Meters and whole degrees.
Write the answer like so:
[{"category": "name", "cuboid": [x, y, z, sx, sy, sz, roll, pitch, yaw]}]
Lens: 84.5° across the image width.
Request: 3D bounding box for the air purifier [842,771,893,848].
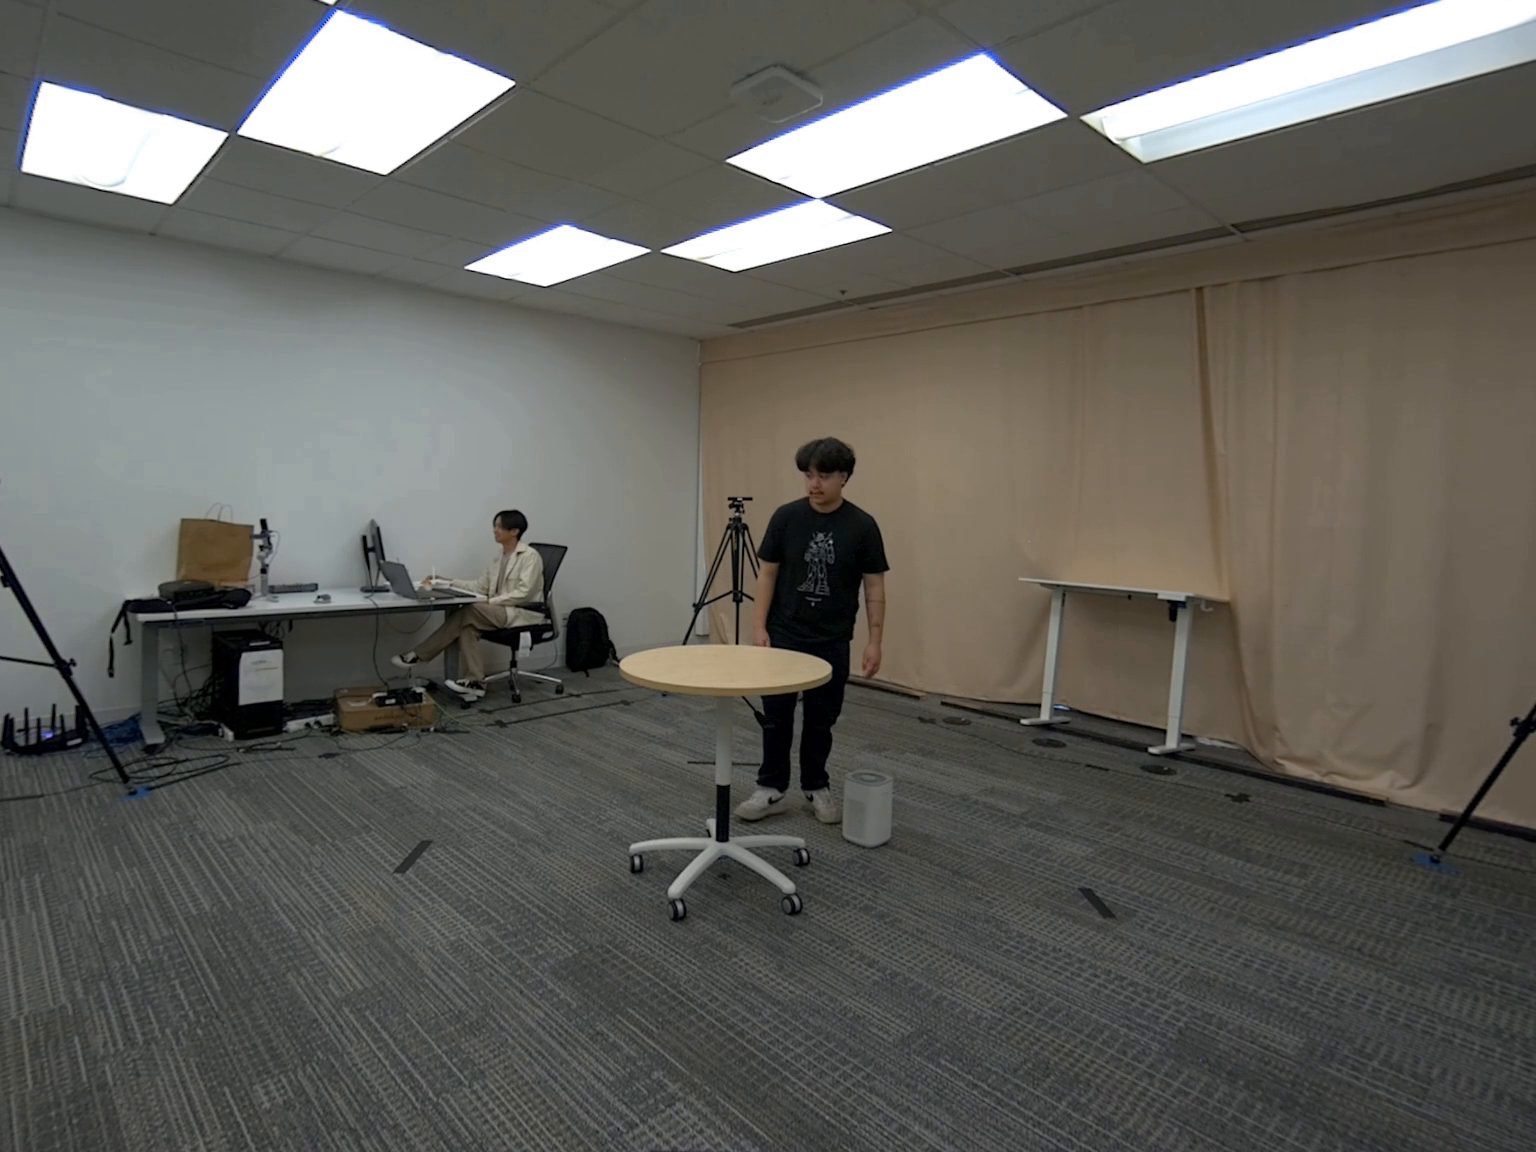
[{"category": "air purifier", "cuboid": [0.402, 0.949, 3.481, 0.176, 0.265, 0.167, 4, 3, 42]}]
